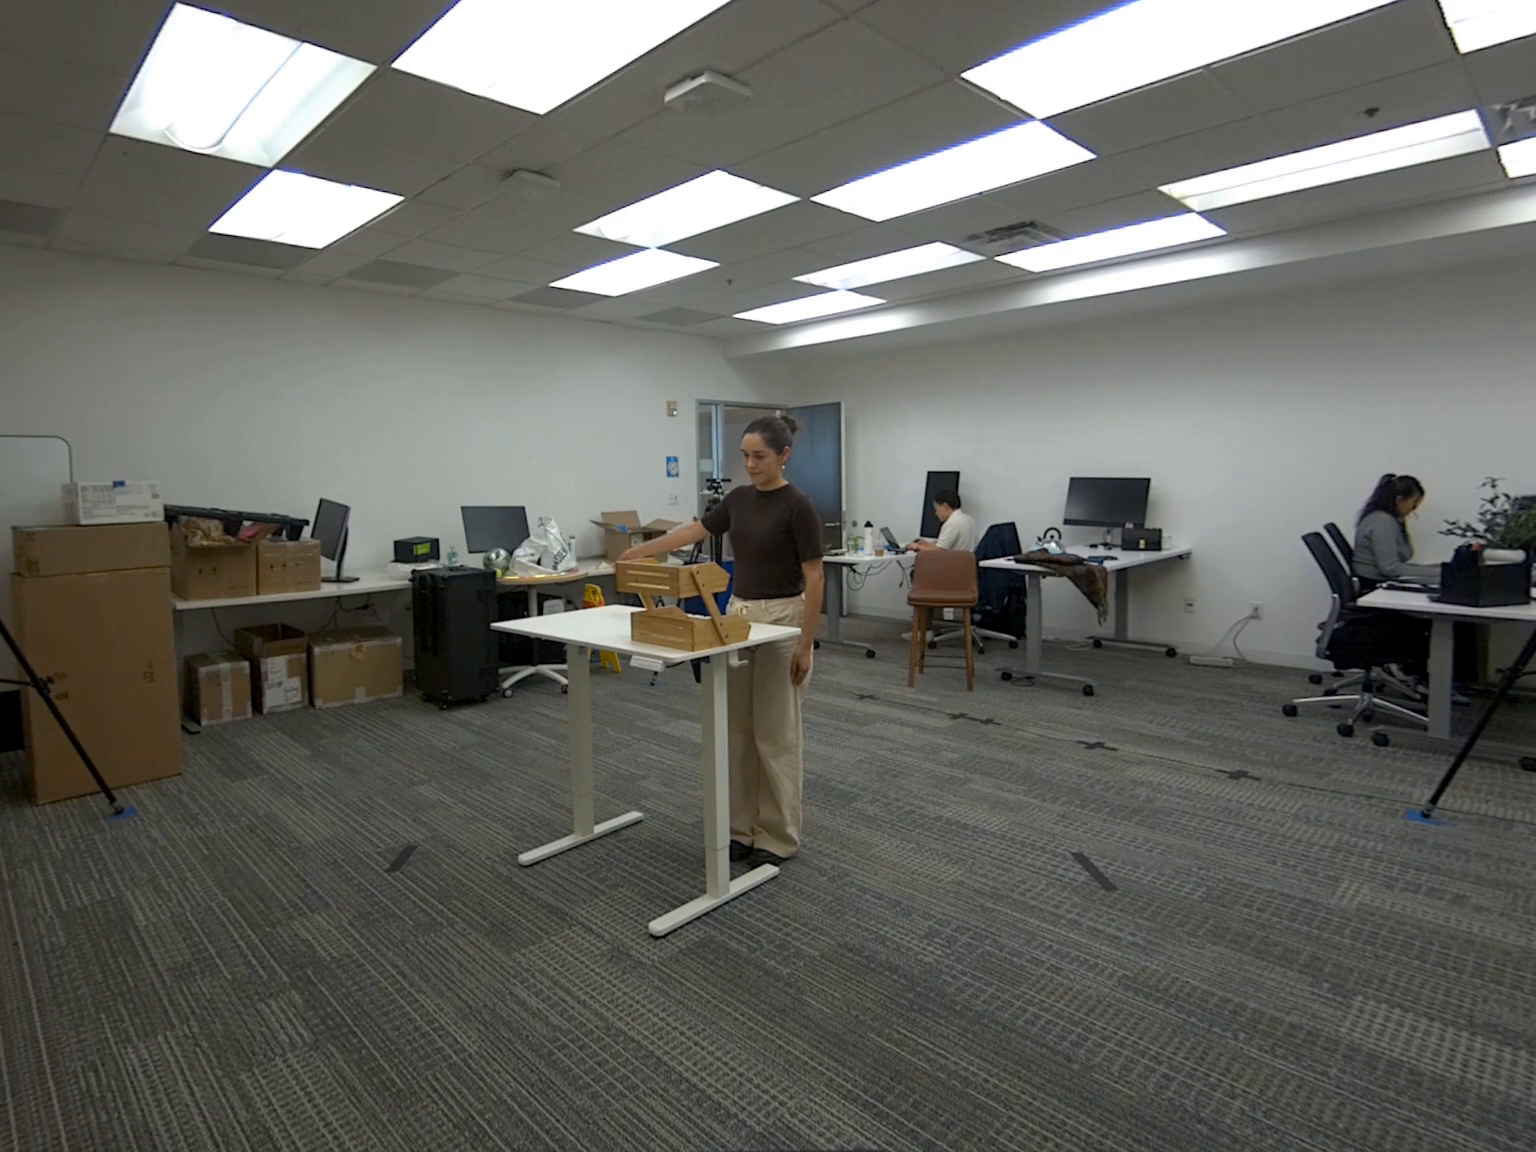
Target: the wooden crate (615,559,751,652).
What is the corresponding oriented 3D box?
[{"bbox_3d":[-0.264,0.076,2.711,0.334,0.272,0.294,3,8,43],"label":"wooden crate"}]
